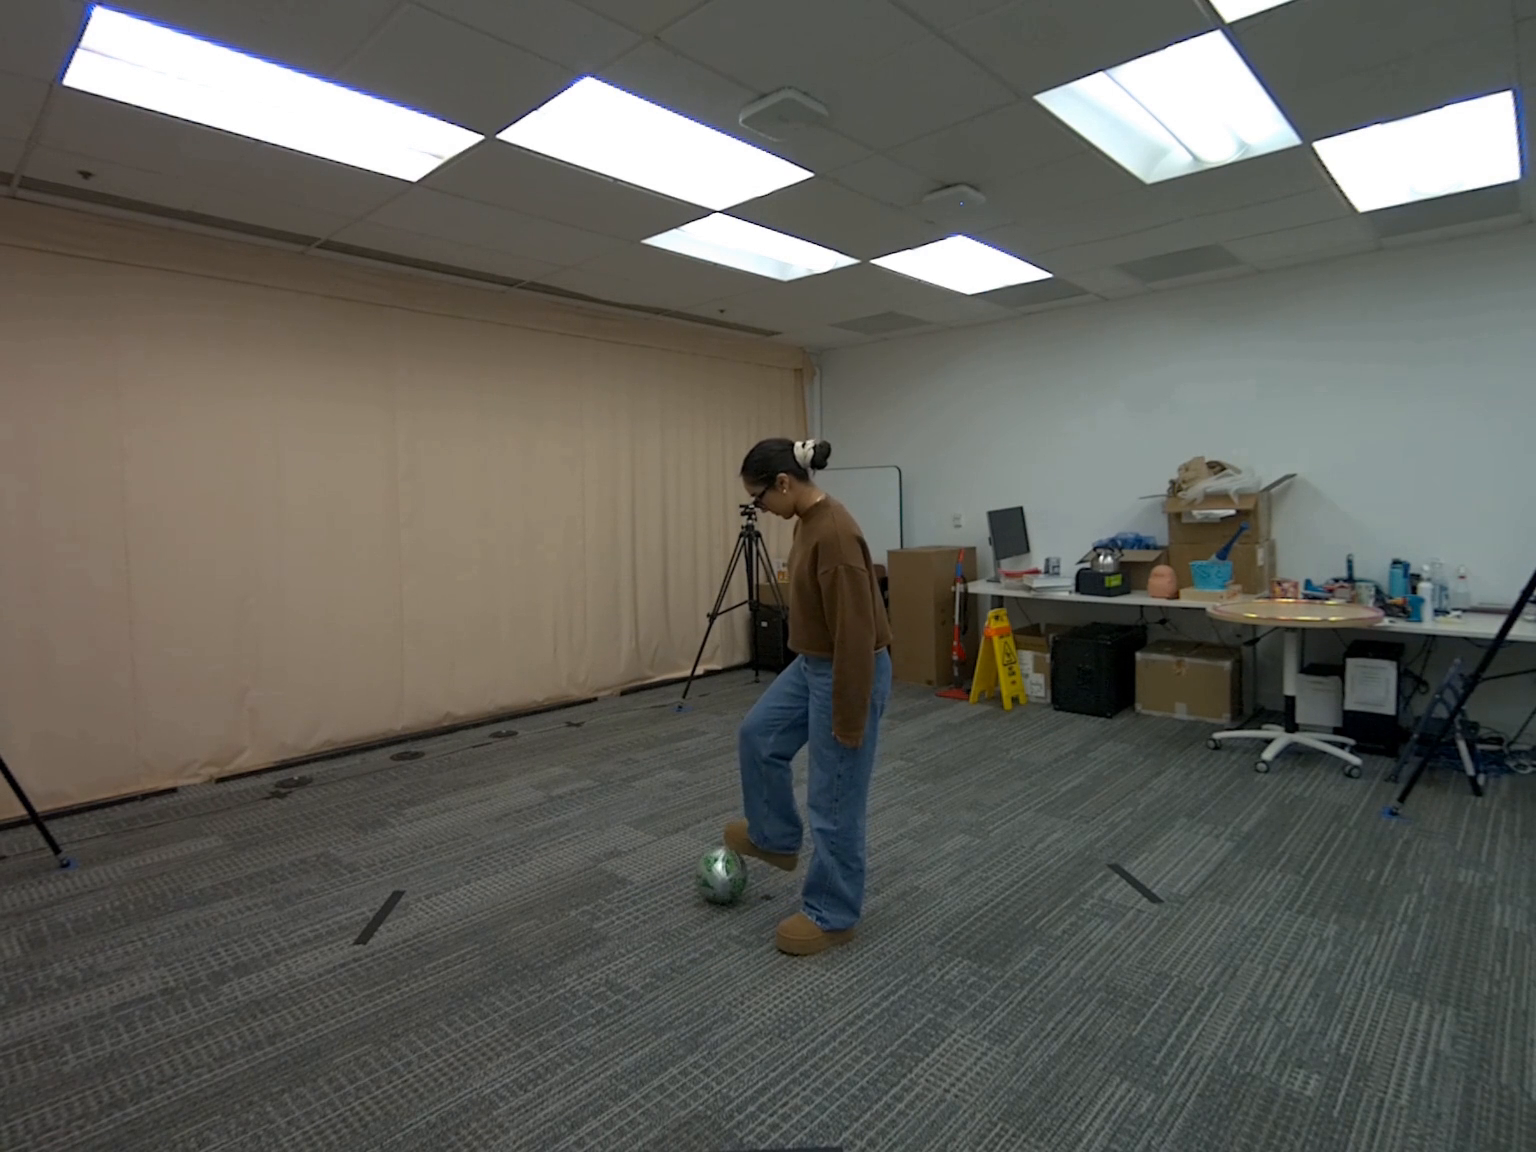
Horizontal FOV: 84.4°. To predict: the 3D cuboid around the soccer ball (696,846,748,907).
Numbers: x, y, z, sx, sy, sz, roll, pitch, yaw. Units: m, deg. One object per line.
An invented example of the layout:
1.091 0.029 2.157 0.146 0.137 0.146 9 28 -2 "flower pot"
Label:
-0.166 1.056 2.944 0.187 0.187 0.188 -1 4 -2 "soccer ball"
